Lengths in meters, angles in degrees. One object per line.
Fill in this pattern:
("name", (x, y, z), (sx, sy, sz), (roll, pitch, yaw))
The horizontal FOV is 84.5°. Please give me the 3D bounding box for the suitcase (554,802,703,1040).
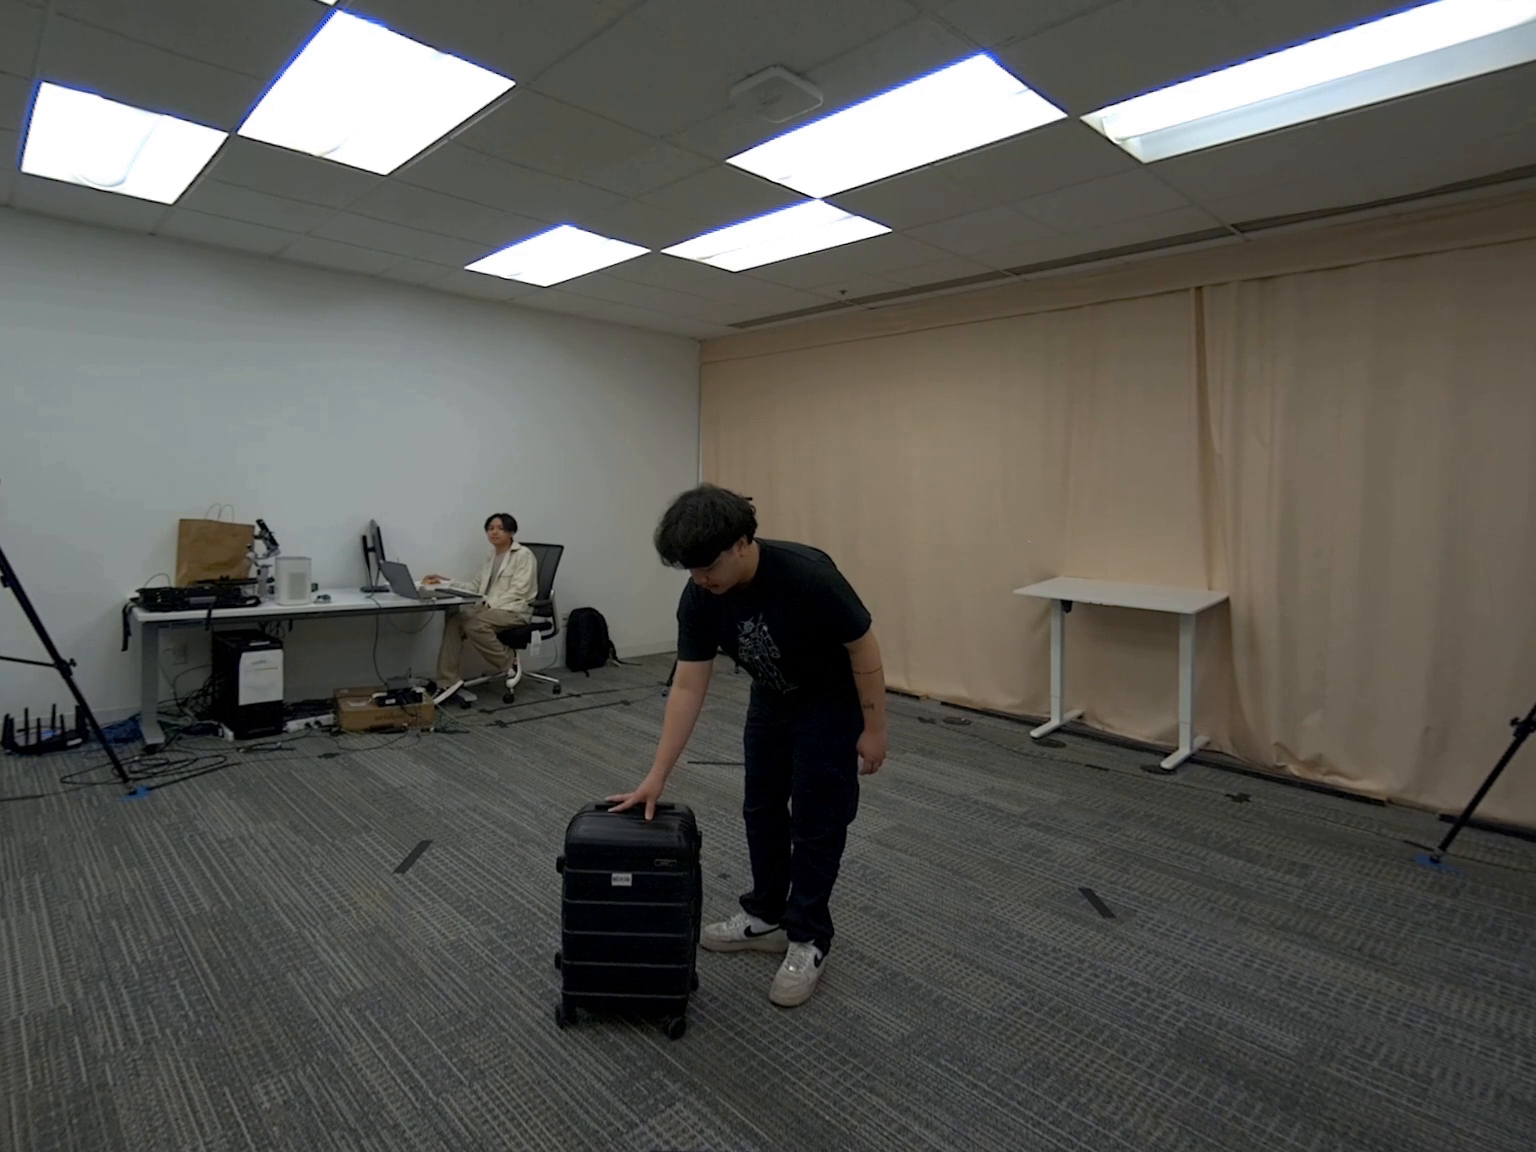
("suitcase", (-0.375, 0.903, 2.274), (0.375, 0.548, 0.249), (1, 3, -2))
